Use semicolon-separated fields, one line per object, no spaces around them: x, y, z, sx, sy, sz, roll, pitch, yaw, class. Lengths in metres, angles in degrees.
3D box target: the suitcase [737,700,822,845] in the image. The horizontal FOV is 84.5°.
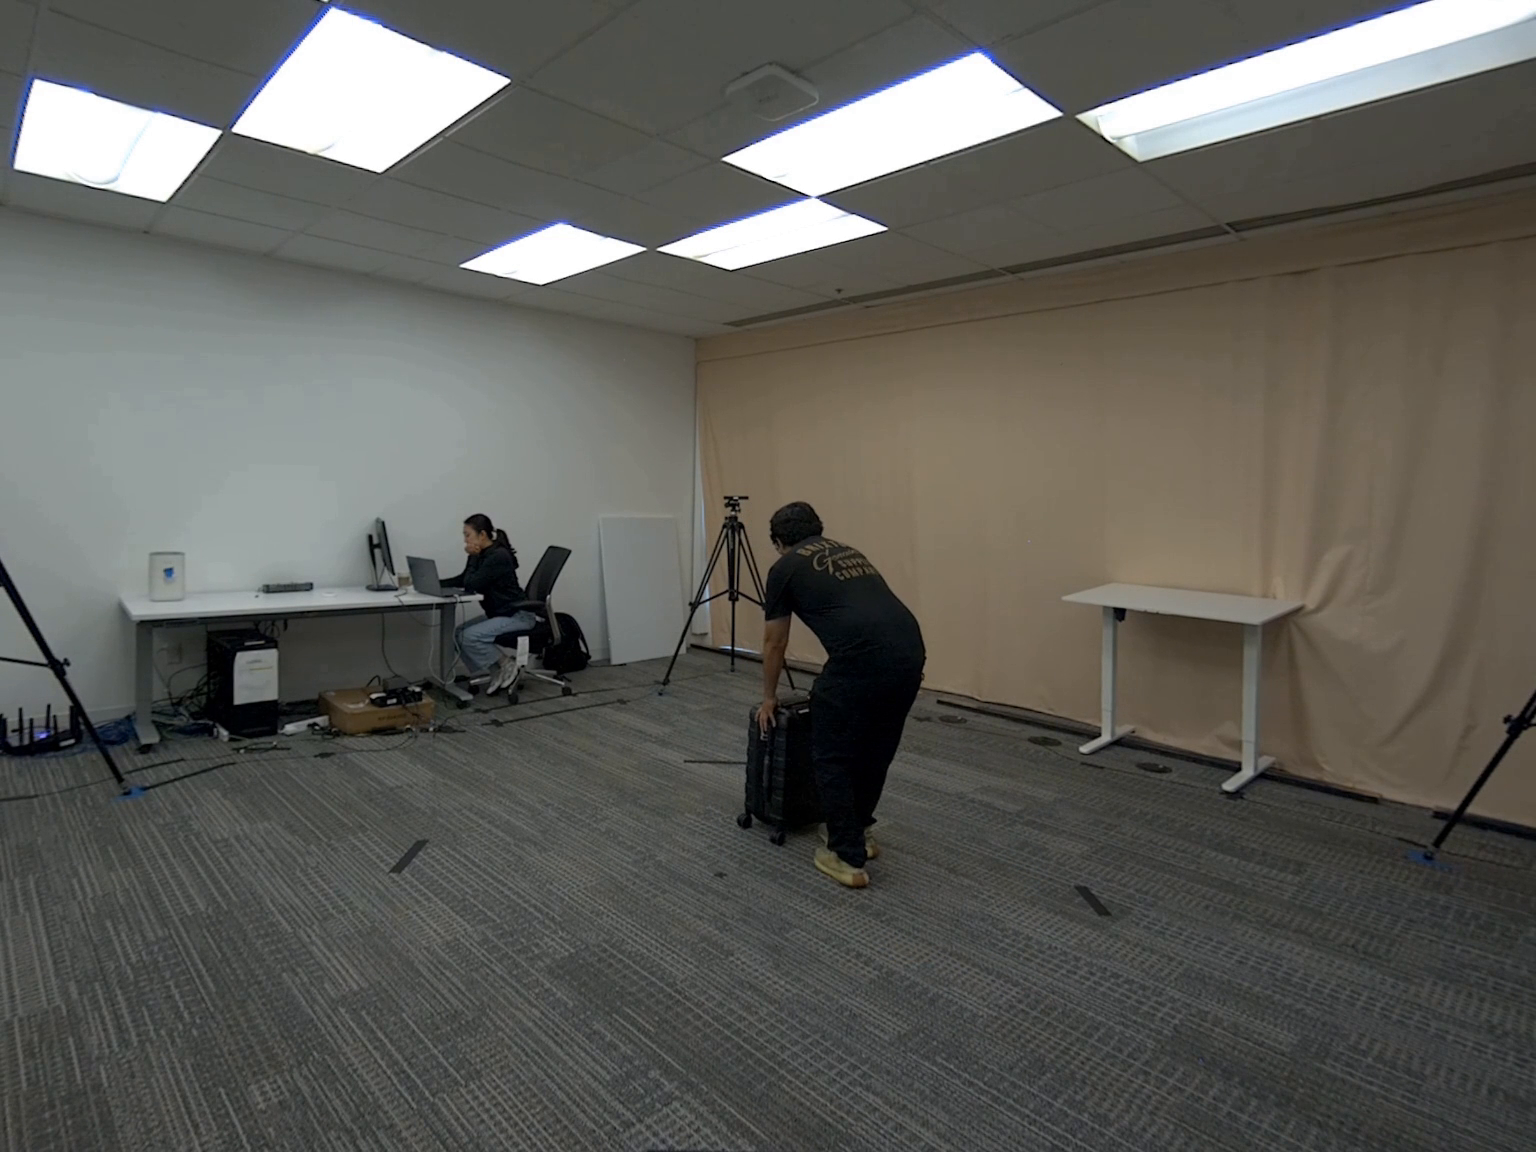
0.092;0.792;3.572;0.367;0.548;0.255;0;5;-38;suitcase
